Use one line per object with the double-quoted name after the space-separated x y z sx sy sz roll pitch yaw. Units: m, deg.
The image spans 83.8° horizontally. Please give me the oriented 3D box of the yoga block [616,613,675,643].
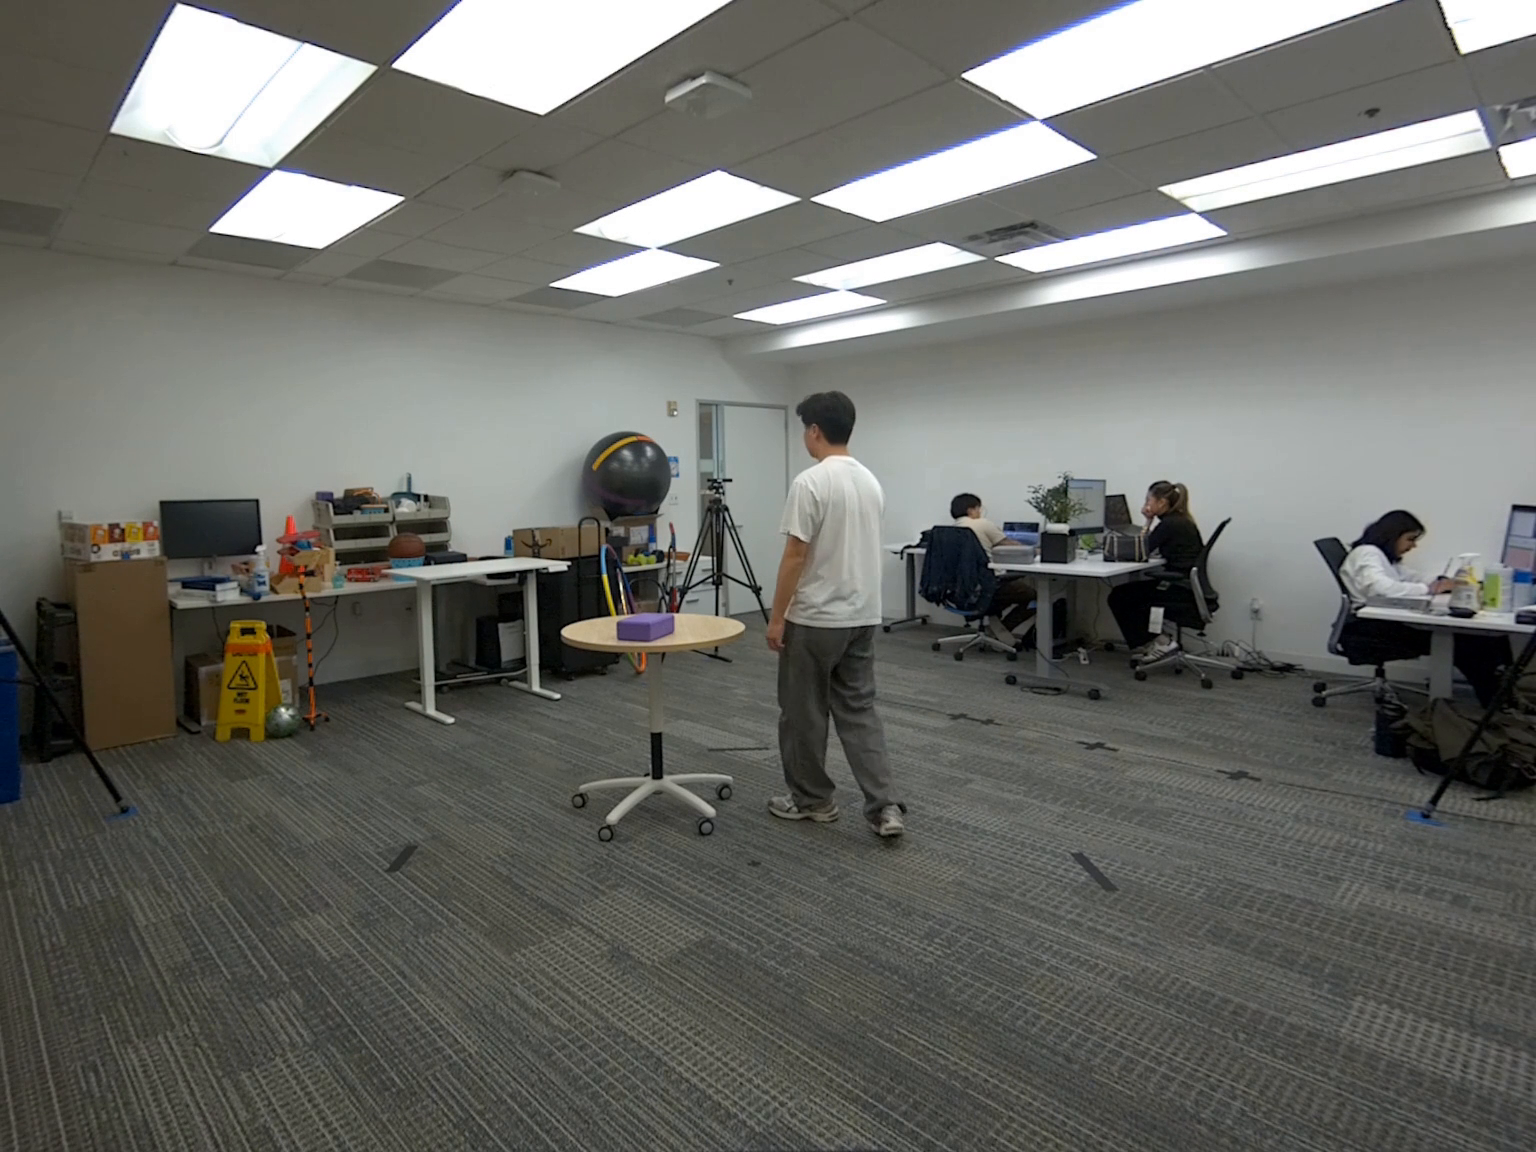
-0.480 0.199 3.397 0.152 0.076 0.226 1 6 19 "yoga block"
